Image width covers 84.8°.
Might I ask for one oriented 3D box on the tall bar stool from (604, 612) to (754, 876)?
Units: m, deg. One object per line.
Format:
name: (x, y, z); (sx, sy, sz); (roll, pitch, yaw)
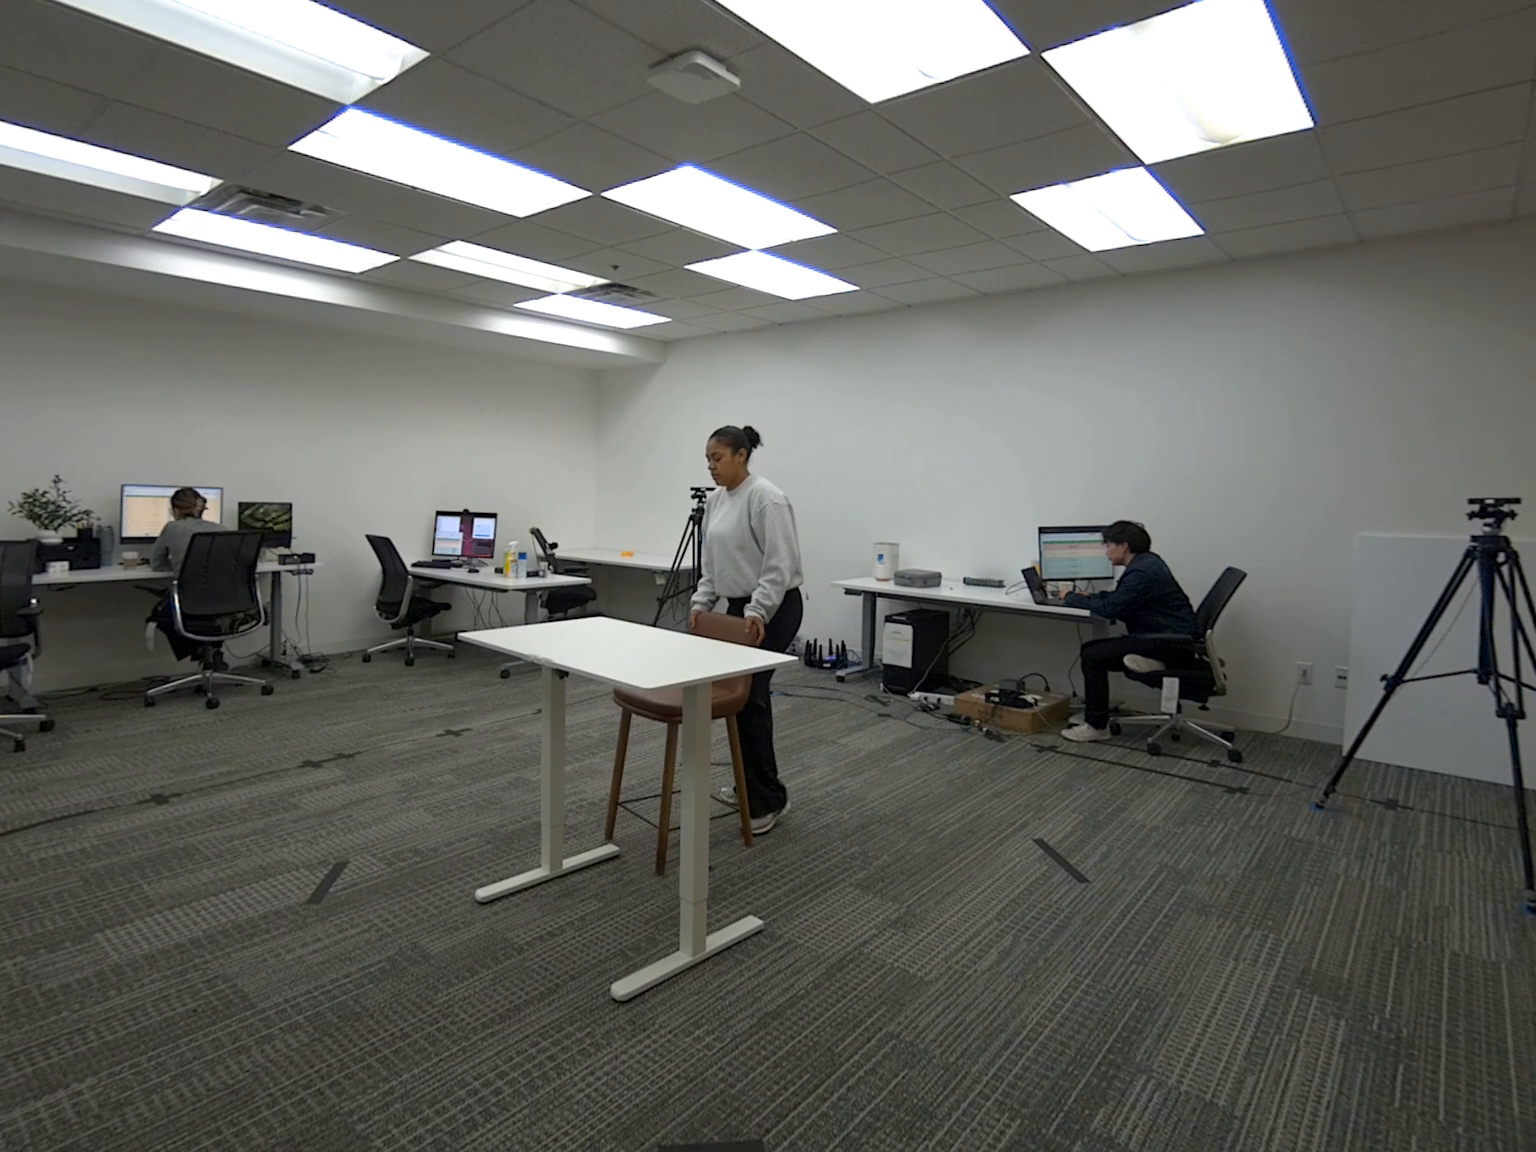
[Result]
tall bar stool: (-0.344, 0.605, 3.308); (0.453, 0.889, 0.471); (1, 2, -38)
